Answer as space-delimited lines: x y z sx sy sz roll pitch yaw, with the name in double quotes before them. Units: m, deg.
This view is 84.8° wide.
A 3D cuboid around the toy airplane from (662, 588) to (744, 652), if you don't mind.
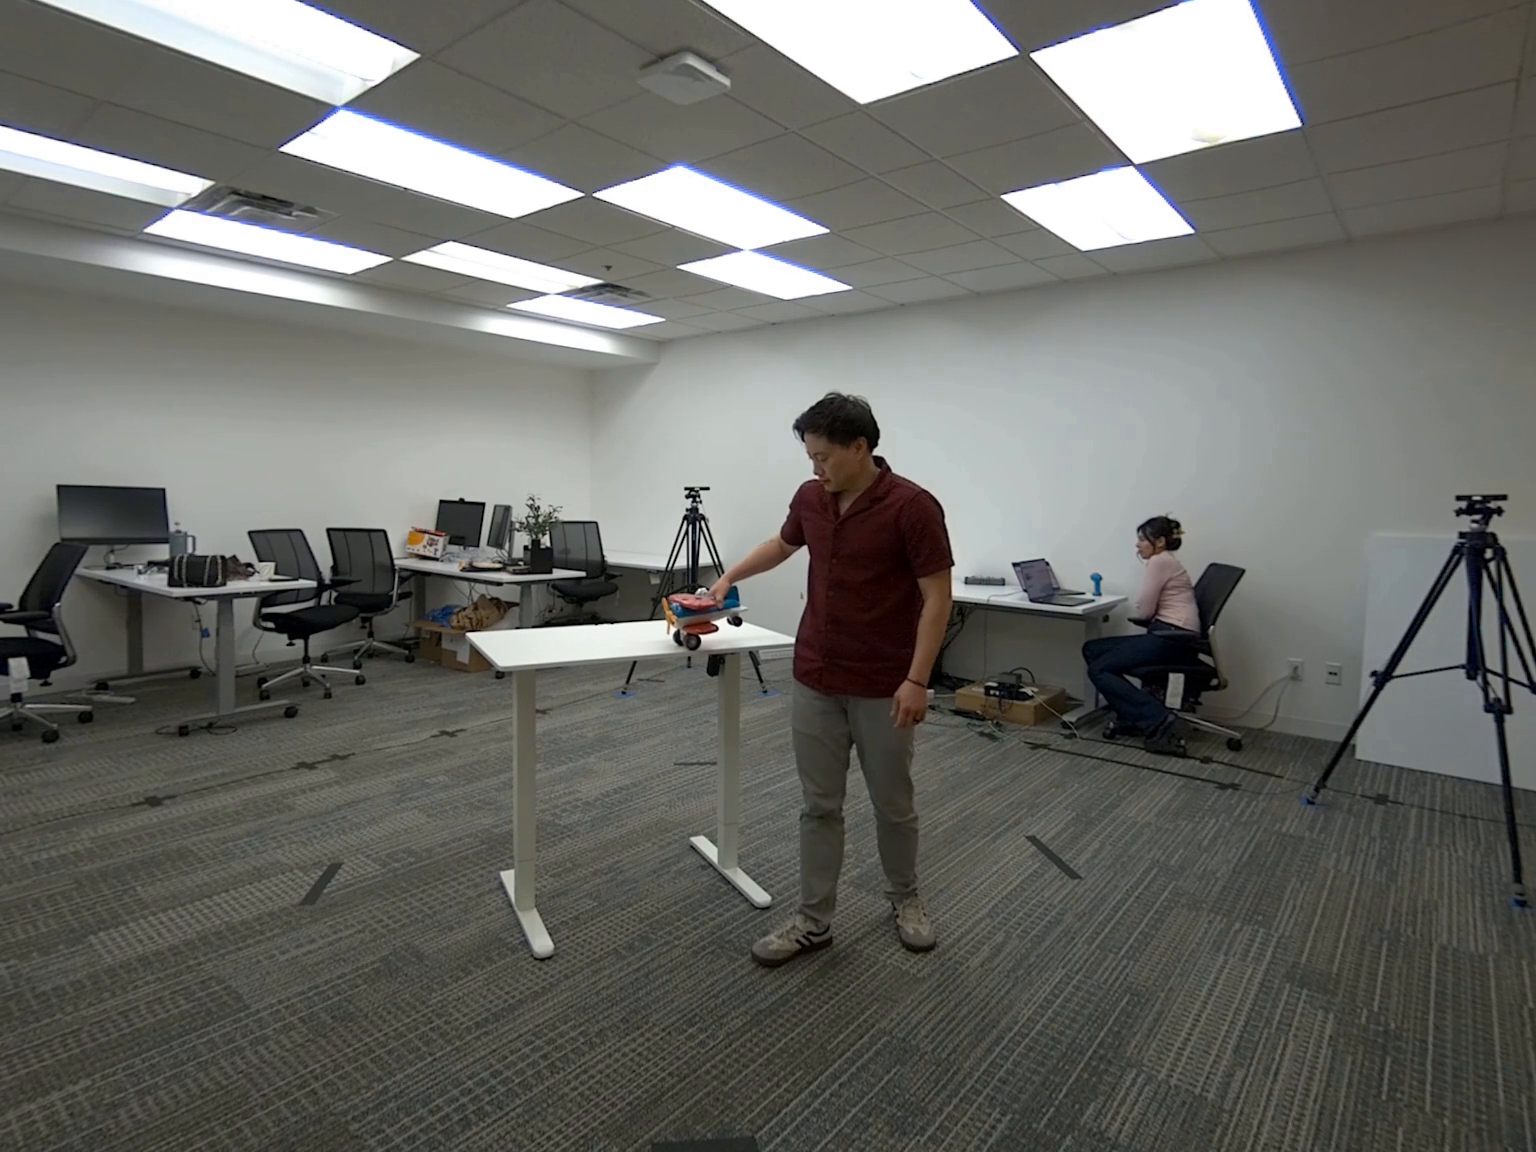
"toy airplane" -0.217 0.122 2.719 0.258 0.154 0.256 -6 18 39
